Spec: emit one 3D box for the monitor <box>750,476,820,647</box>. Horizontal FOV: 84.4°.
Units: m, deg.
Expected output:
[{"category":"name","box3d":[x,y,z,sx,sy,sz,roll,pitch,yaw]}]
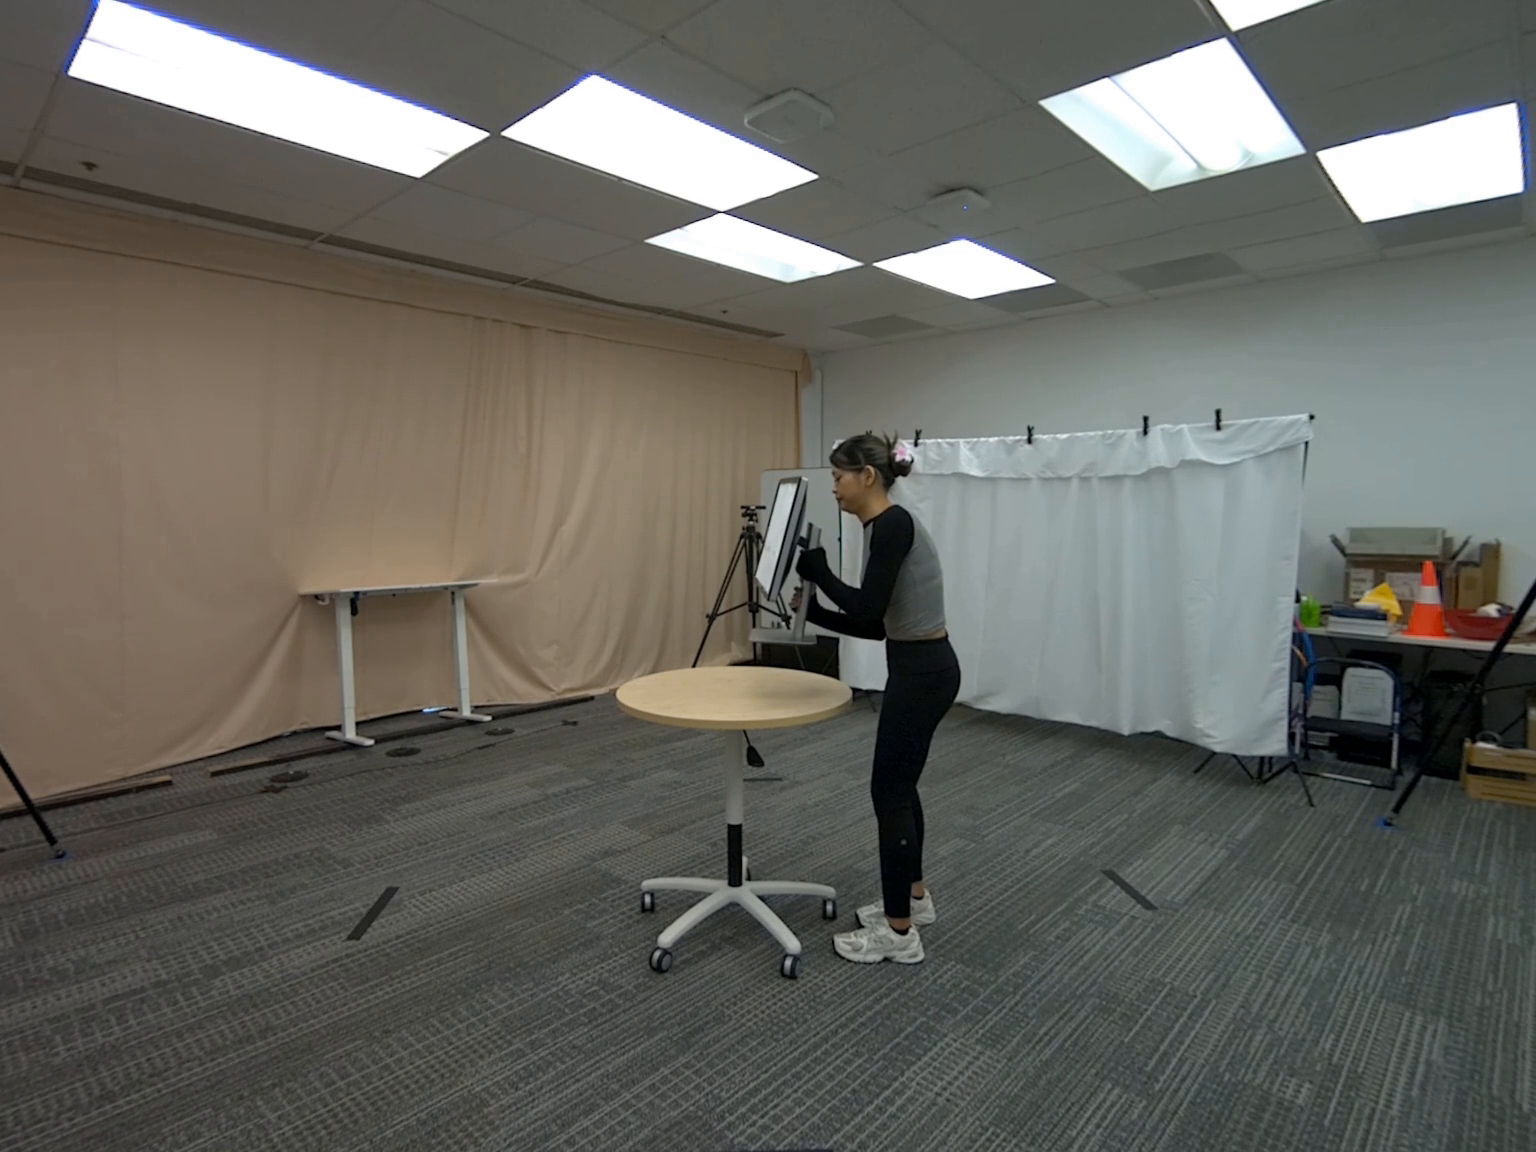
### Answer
[{"category":"monitor","box3d":[0.070,-0.045,2.650,0.186,0.521,0.543,3,5,-6]}]
